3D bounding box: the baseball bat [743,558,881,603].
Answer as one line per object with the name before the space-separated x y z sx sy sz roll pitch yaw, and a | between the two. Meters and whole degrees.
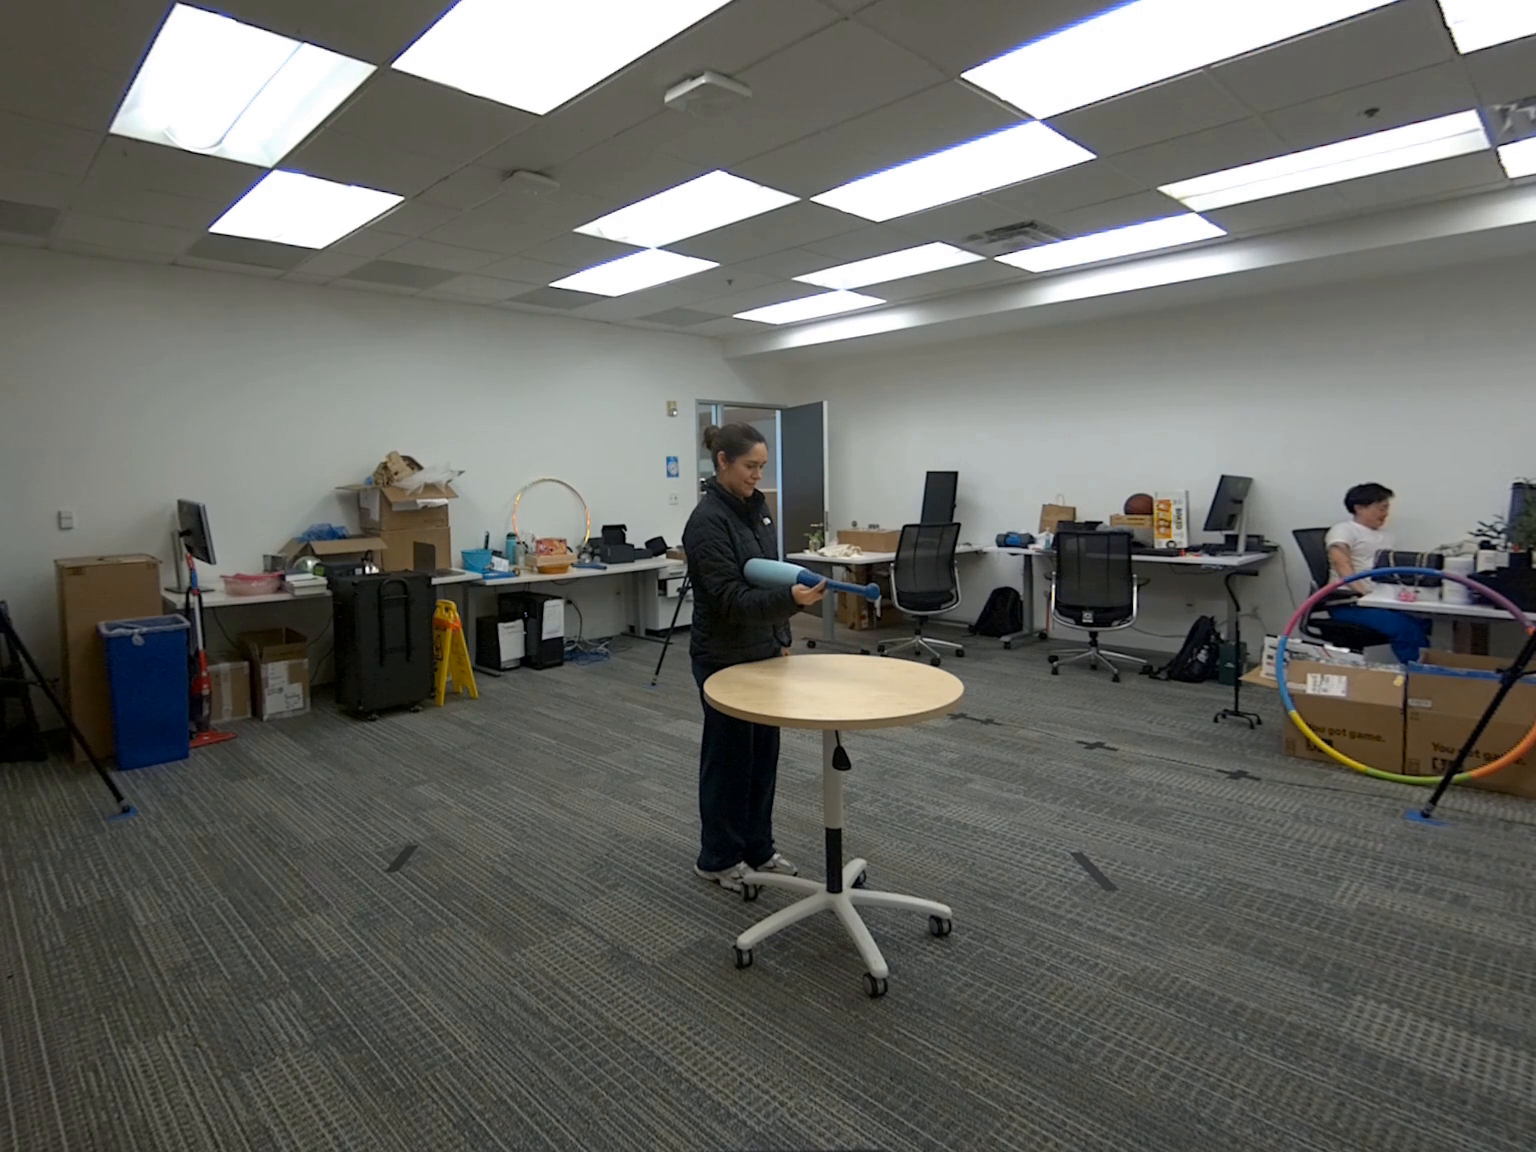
baseball bat | 0.129 0.015 2.615 0.087 0.088 0.561 -5 11 -39
